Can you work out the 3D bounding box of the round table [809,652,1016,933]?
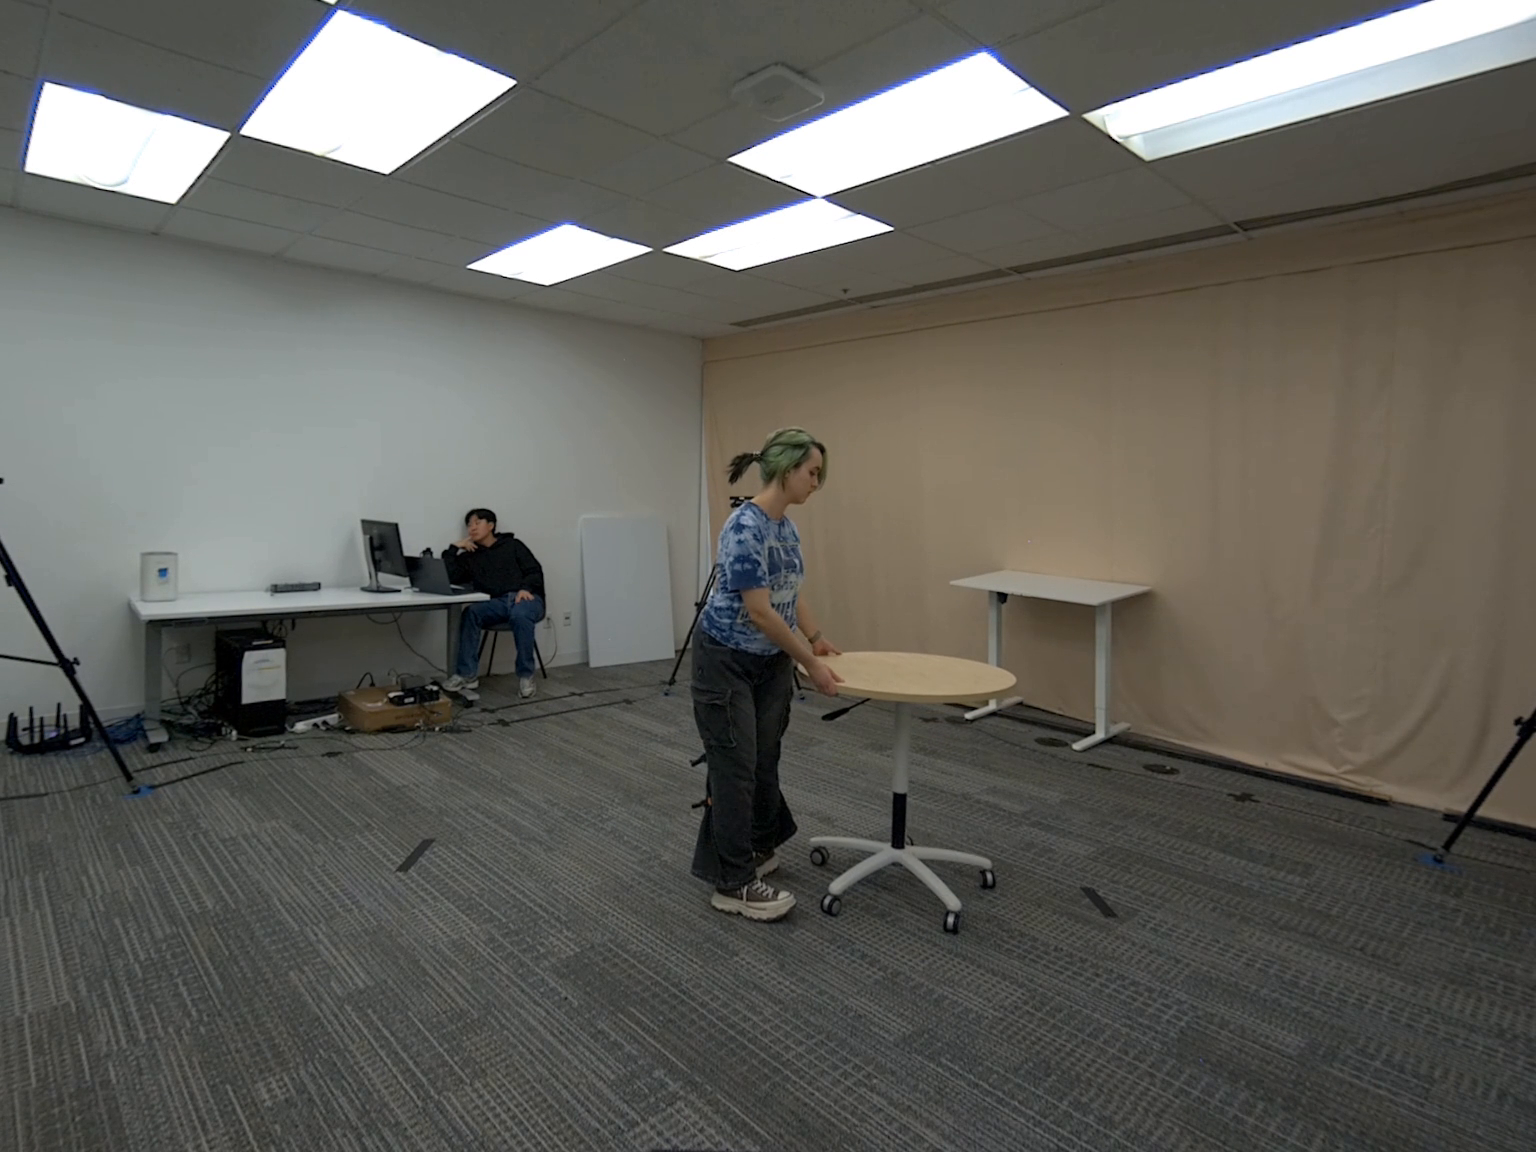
[{"bbox_3d":[0.469,0.733,3.037,0.763,0.792,0.766,2,4,-1],"label":"round table"}]
